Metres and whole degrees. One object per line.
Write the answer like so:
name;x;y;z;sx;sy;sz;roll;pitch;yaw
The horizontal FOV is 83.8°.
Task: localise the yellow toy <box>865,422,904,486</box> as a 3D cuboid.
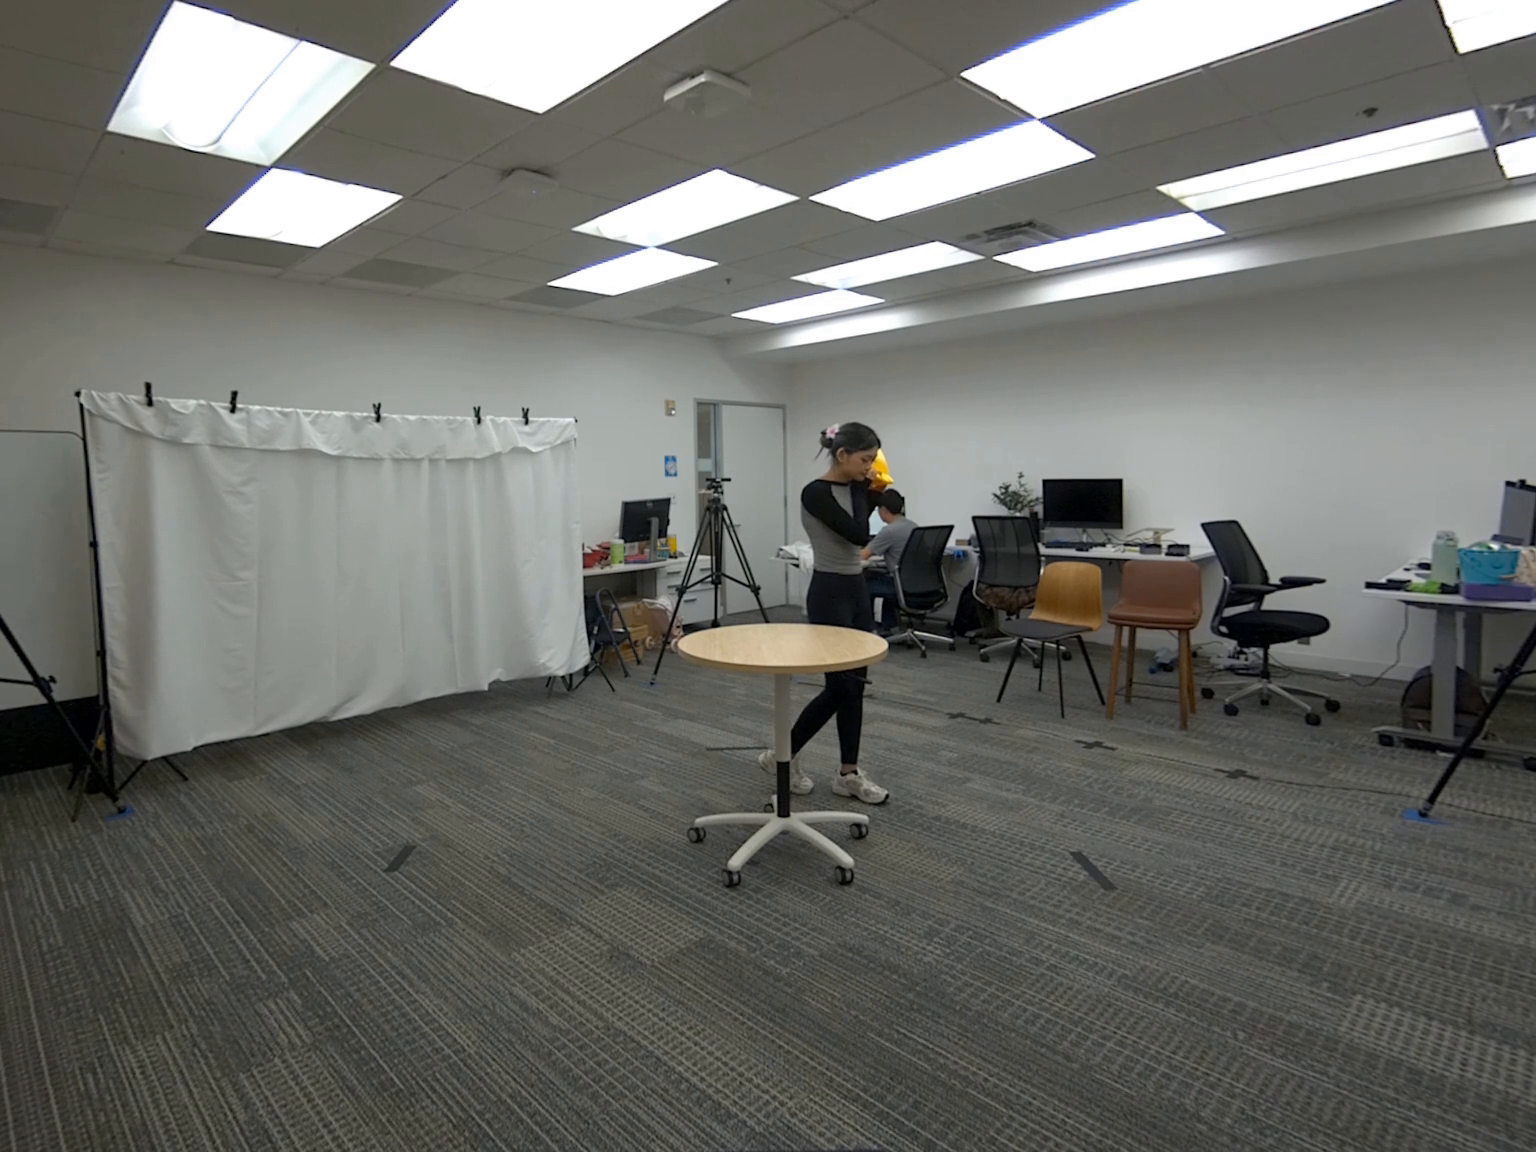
yellow toy;0.467;-0.541;3.835;0.198;0.232;0.198;-3;-8;39
